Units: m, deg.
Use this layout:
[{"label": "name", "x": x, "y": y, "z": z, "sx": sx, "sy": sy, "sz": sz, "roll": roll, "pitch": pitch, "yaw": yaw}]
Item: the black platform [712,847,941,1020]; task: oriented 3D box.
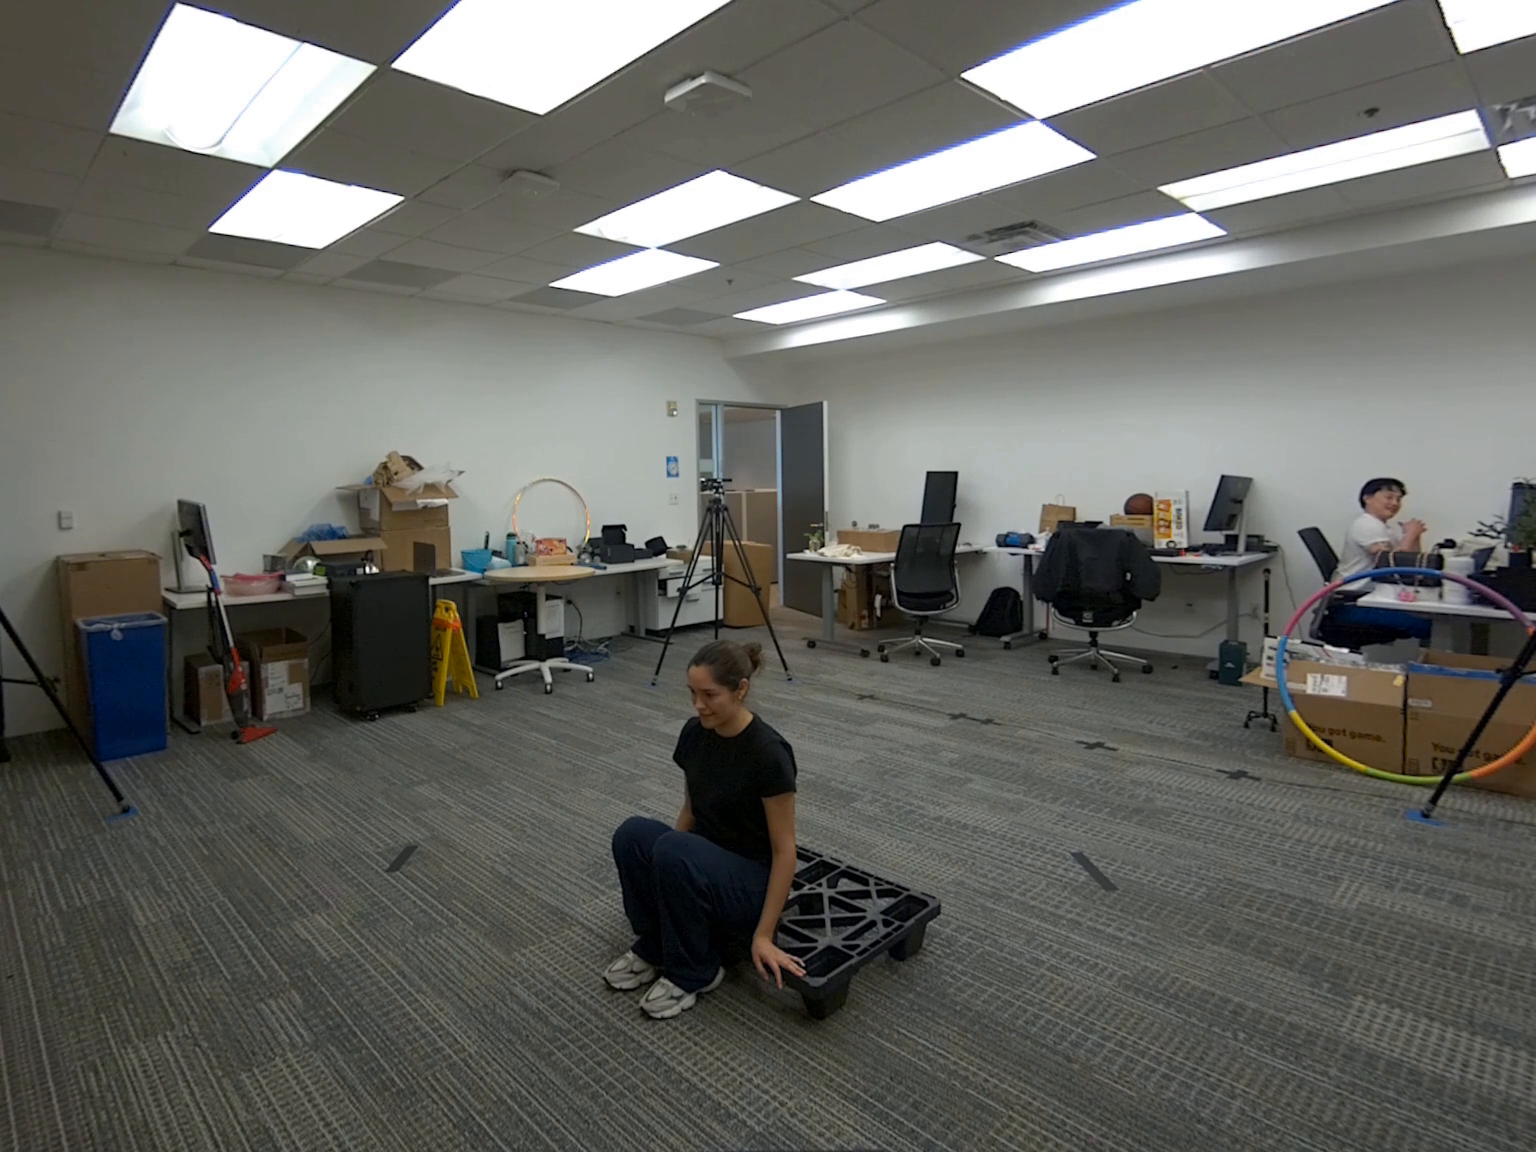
[{"label": "black platform", "x": 0.033, "y": 1.030, "z": 2.643, "sx": 0.831, "sy": 0.143, "sz": 0.589, "roll": 6, "pitch": 9, "yaw": 44}]
